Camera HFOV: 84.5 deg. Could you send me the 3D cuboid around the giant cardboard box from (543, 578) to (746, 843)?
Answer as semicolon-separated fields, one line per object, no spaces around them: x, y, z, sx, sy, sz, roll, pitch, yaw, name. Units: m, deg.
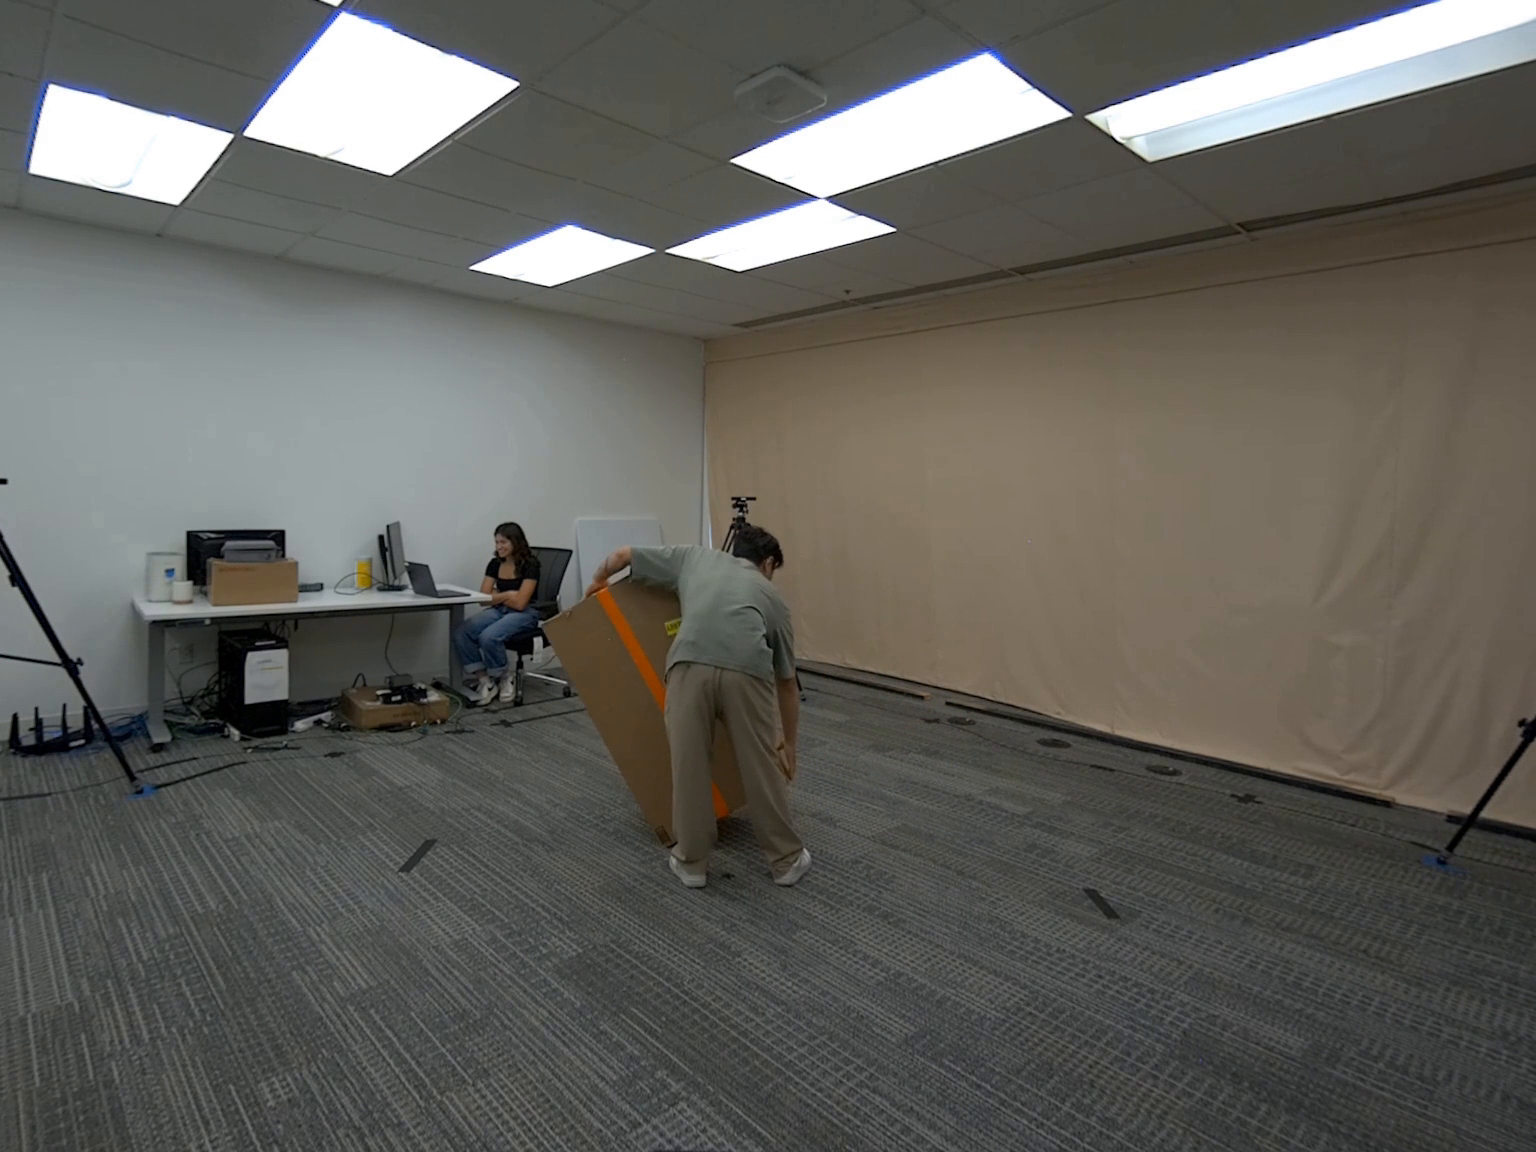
-0.416;0.488;3.531;0.578;1.024;0.426;-28;1;5;giant cardboard box
